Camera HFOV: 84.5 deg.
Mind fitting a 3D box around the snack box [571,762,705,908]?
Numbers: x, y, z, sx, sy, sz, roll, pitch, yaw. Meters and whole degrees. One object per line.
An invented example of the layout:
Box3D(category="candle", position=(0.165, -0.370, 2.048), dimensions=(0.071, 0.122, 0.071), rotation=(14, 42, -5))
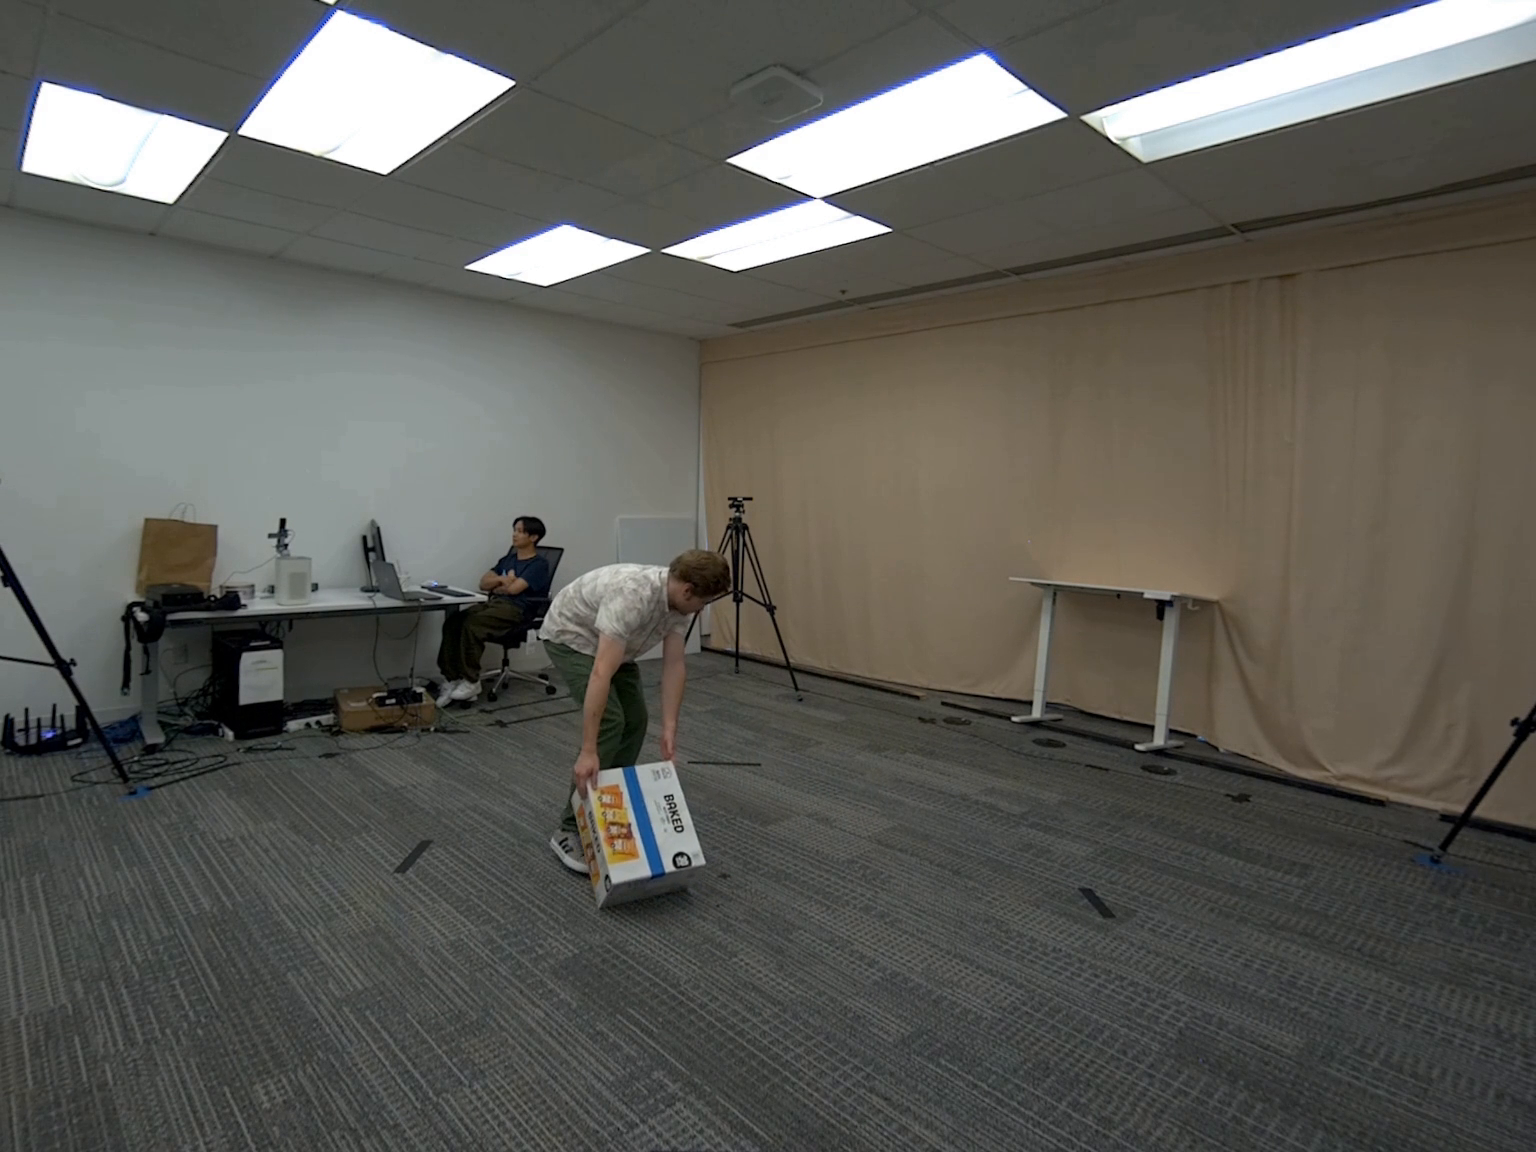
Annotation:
Box3D(category="snack box", position=(-0.473, 0.905, 2.971), dimensions=(0.334, 0.204, 0.417), rotation=(-2, 49, -29))
